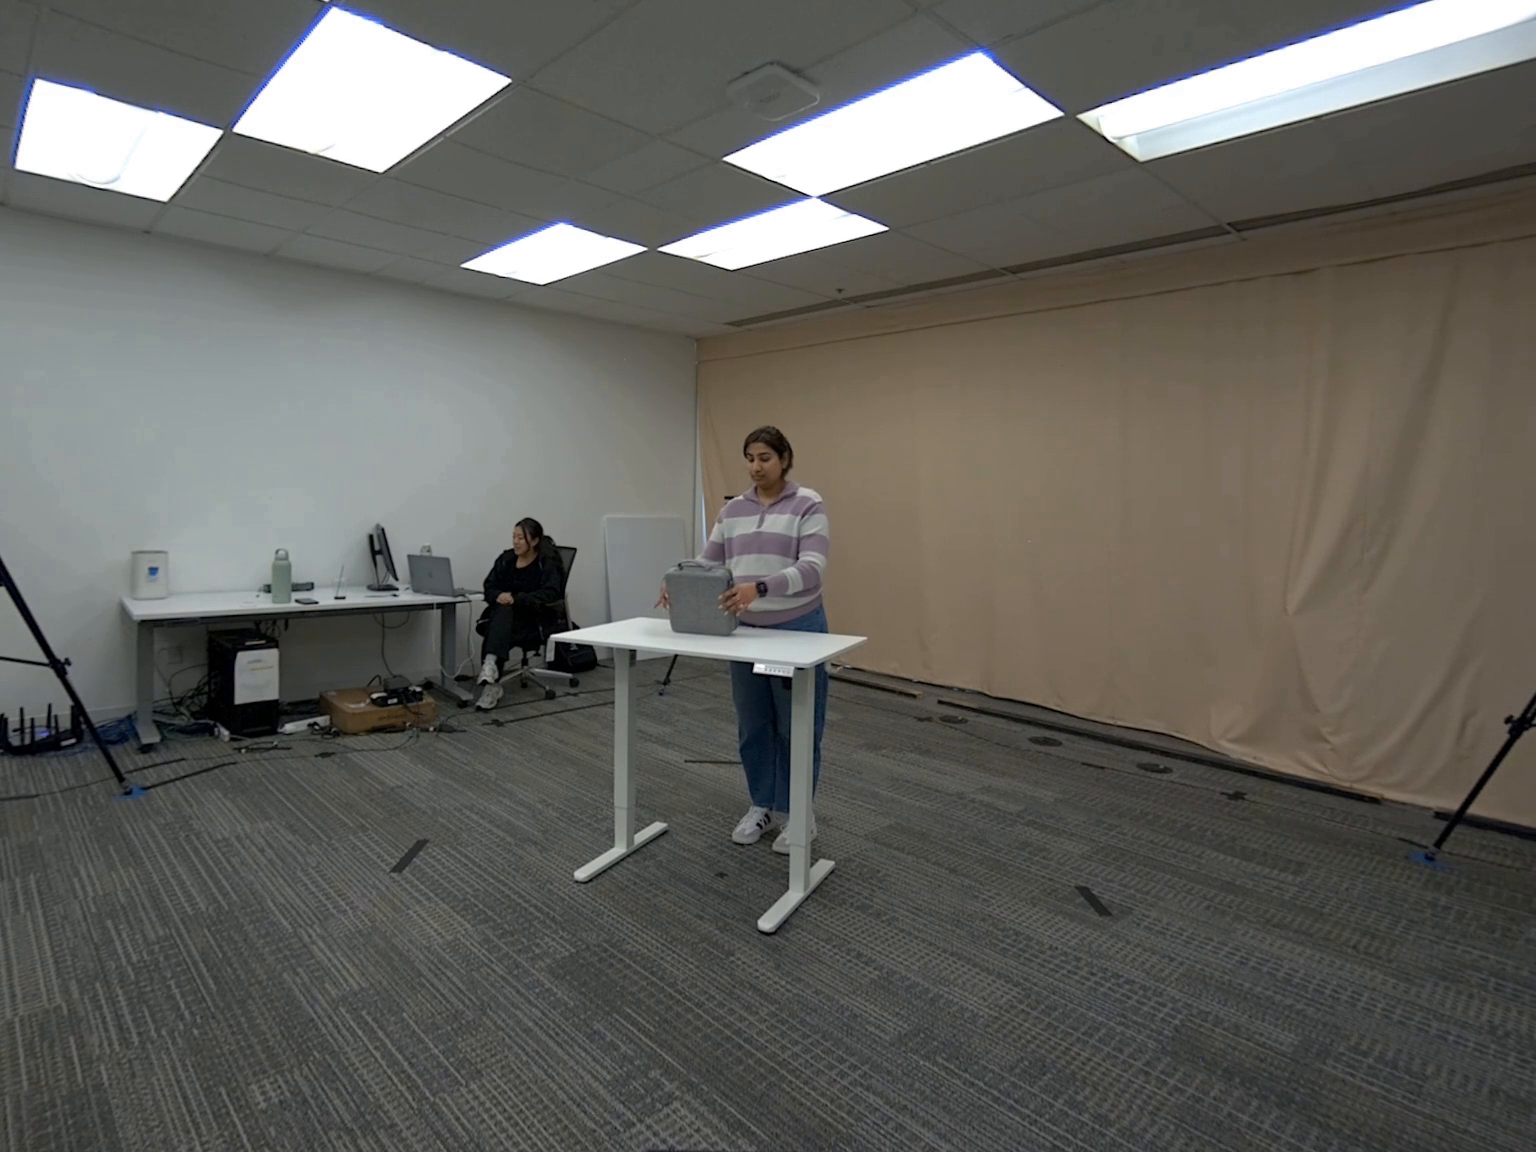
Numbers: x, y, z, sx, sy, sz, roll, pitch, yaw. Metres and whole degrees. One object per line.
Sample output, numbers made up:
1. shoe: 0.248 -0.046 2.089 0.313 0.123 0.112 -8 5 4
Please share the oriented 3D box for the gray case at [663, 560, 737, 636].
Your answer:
1. gray case: -0.258 0.085 3.119 0.261 0.257 0.104 1 18 24
